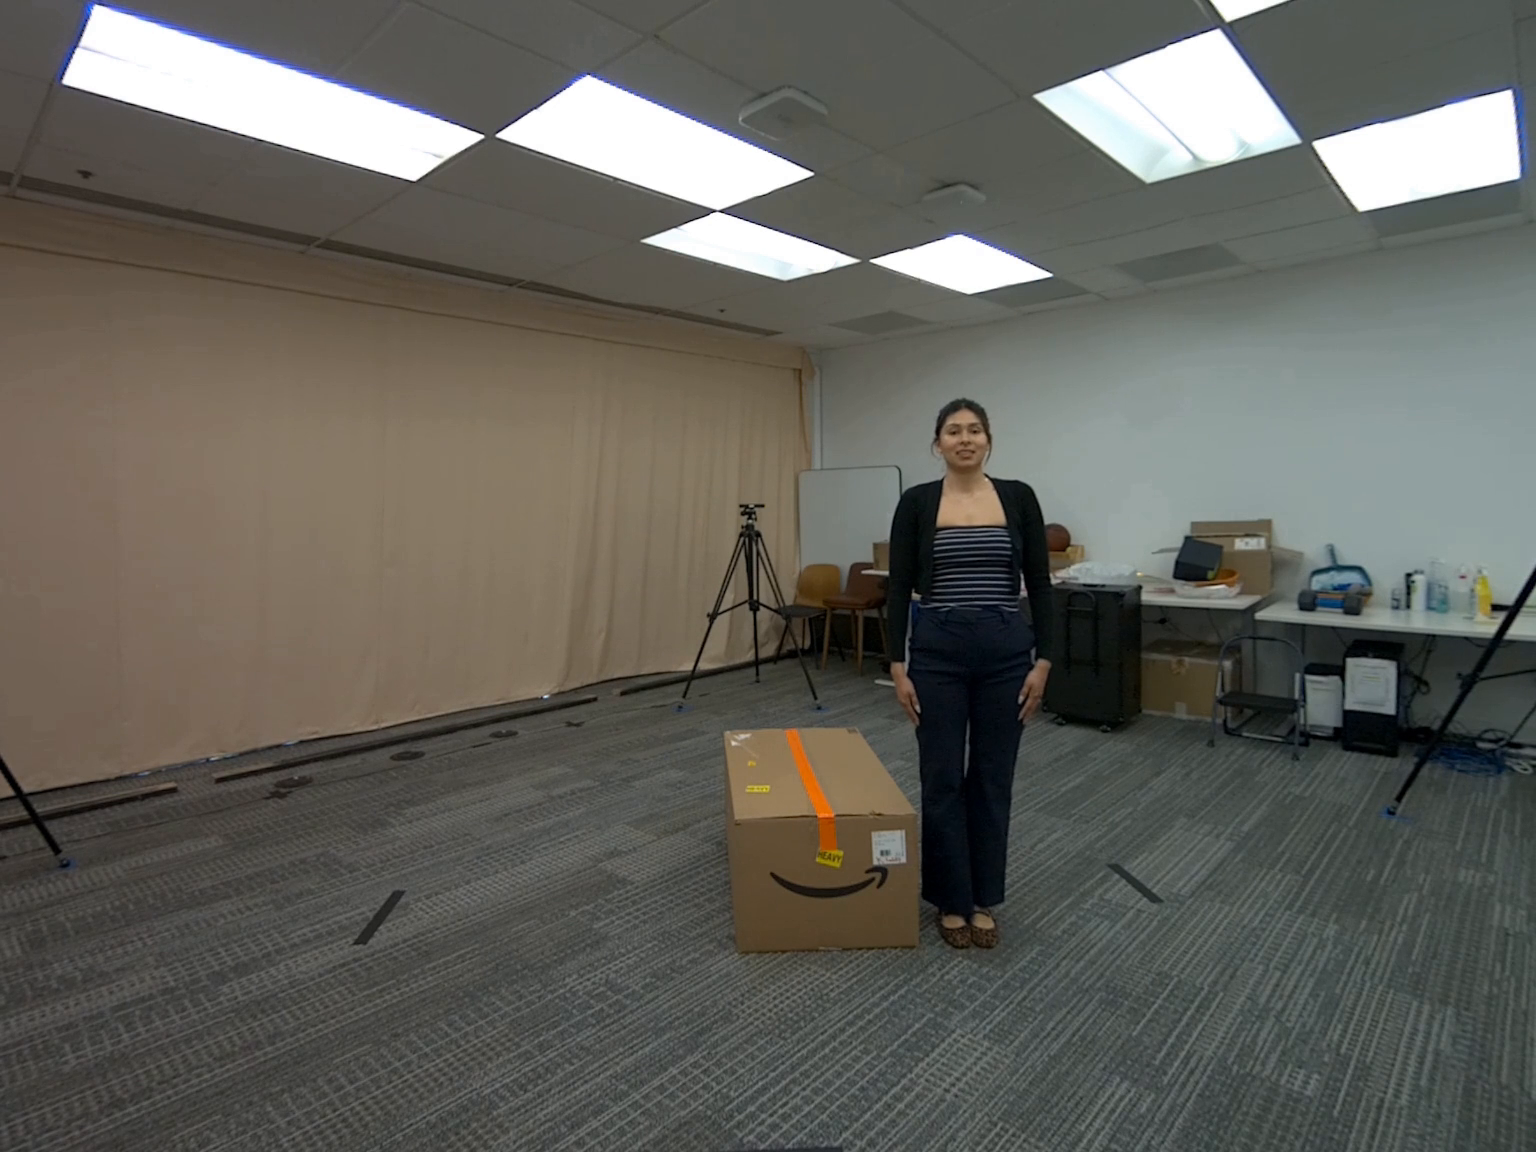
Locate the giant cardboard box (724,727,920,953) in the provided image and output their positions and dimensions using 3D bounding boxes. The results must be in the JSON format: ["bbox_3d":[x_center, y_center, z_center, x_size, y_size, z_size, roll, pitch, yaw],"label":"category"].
[{"bbox_3d":[0.148,0.908,3.124,0.576,0.425,1.032,-2,5,-4],"label":"giant cardboard box"}]
